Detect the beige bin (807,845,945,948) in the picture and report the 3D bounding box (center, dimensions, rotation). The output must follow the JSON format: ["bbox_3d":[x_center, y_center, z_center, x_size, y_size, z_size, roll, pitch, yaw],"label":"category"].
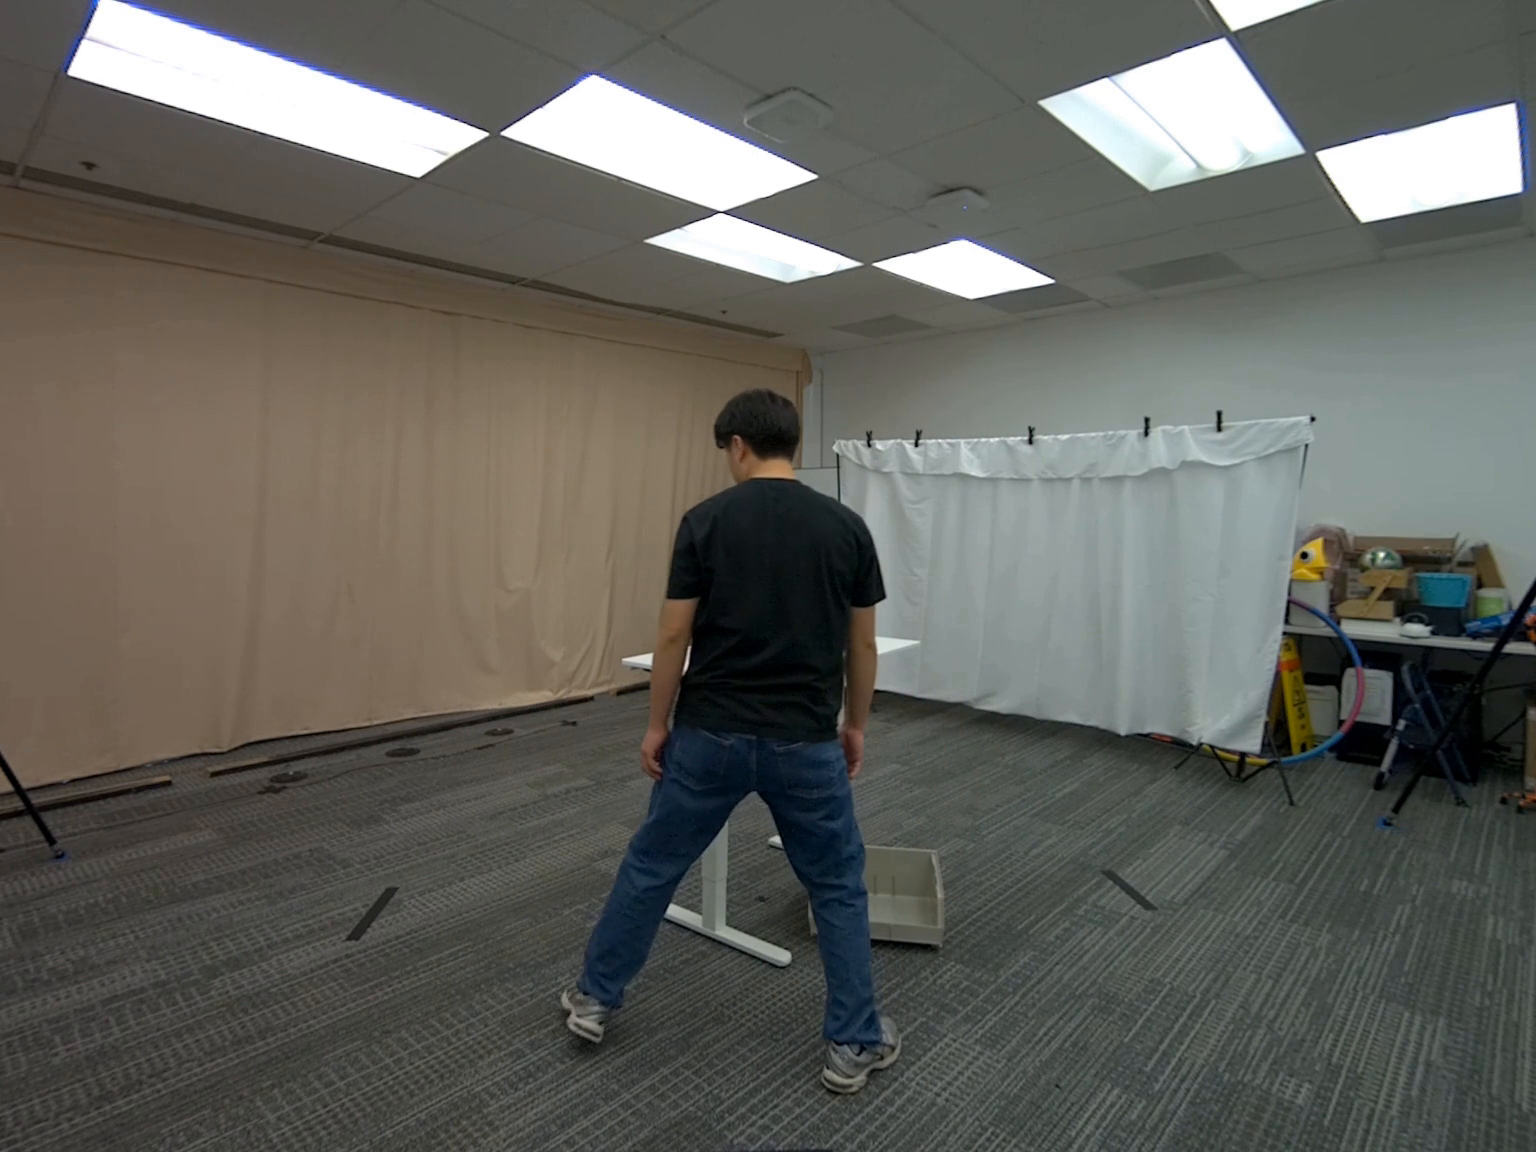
[{"bbox_3d":[0.369,1.073,2.817,0.427,0.188,0.374,0,5,10],"label":"beige bin"}]
